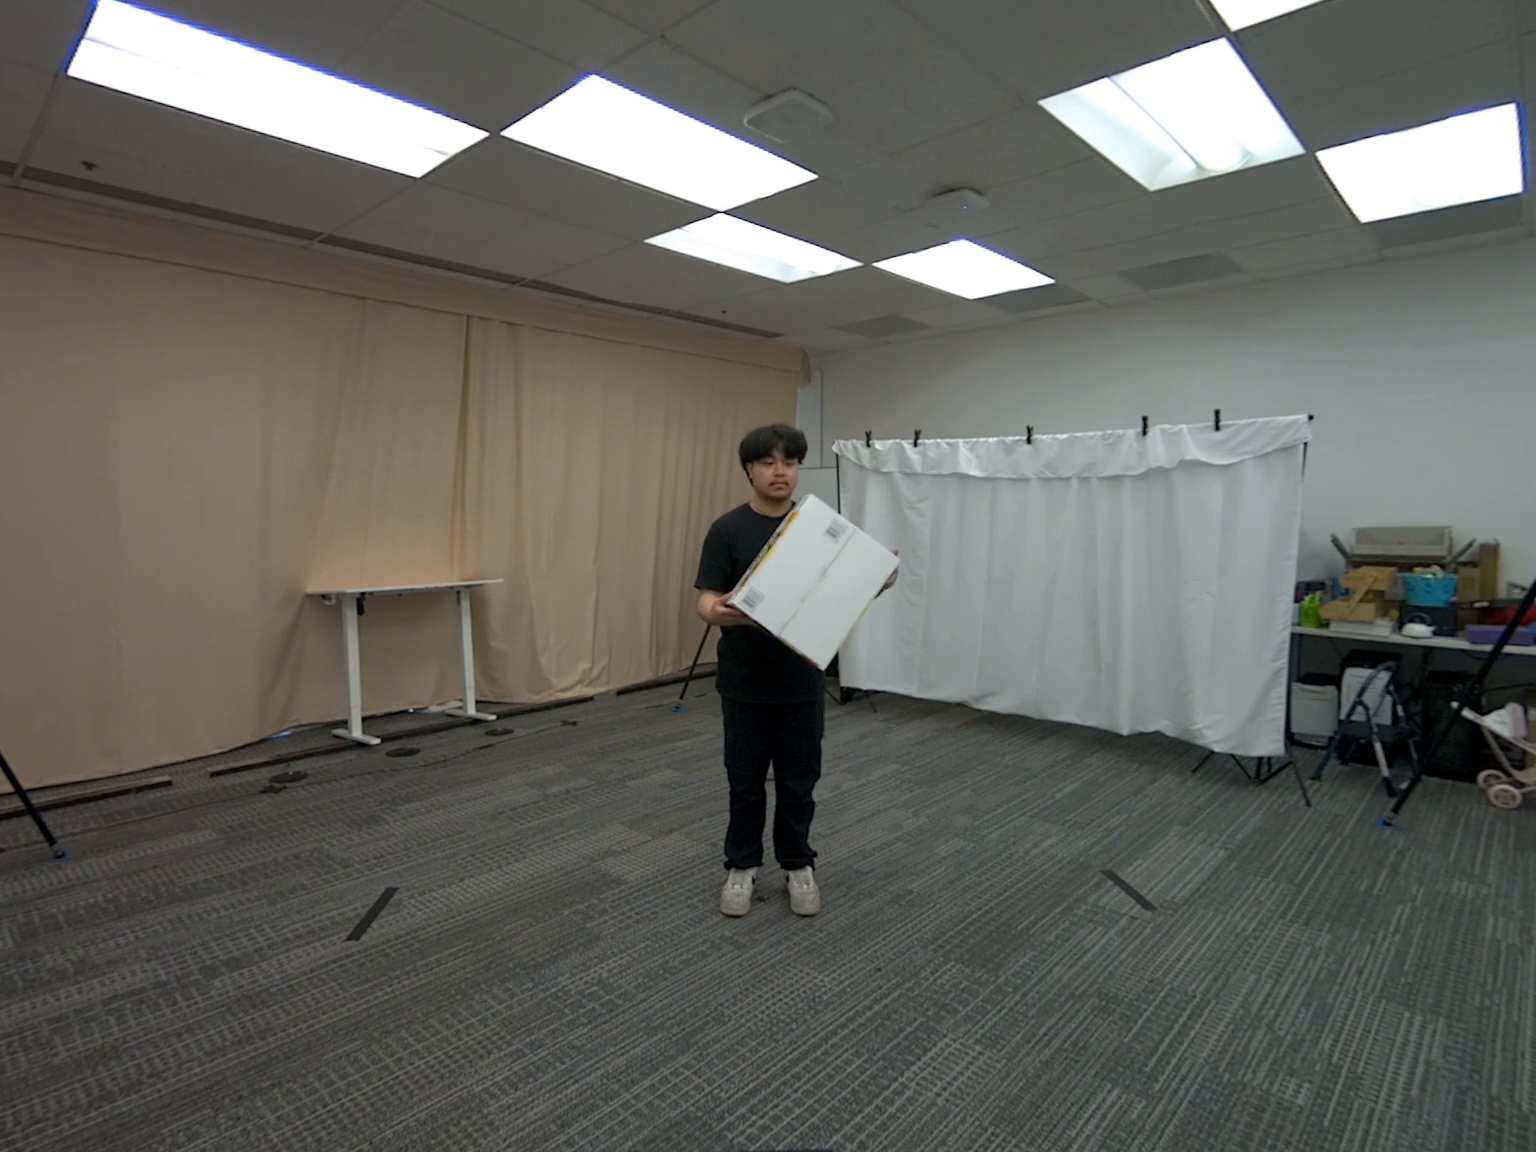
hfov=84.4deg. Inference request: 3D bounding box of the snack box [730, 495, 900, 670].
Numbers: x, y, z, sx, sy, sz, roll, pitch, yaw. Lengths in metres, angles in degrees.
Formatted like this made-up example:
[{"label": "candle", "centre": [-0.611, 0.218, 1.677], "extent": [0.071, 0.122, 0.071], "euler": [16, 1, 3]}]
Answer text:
[{"label": "snack box", "centre": [0.132, 0.021, 2.568], "extent": [0.339, 0.405, 0.206], "euler": [36, -5, -3]}]
